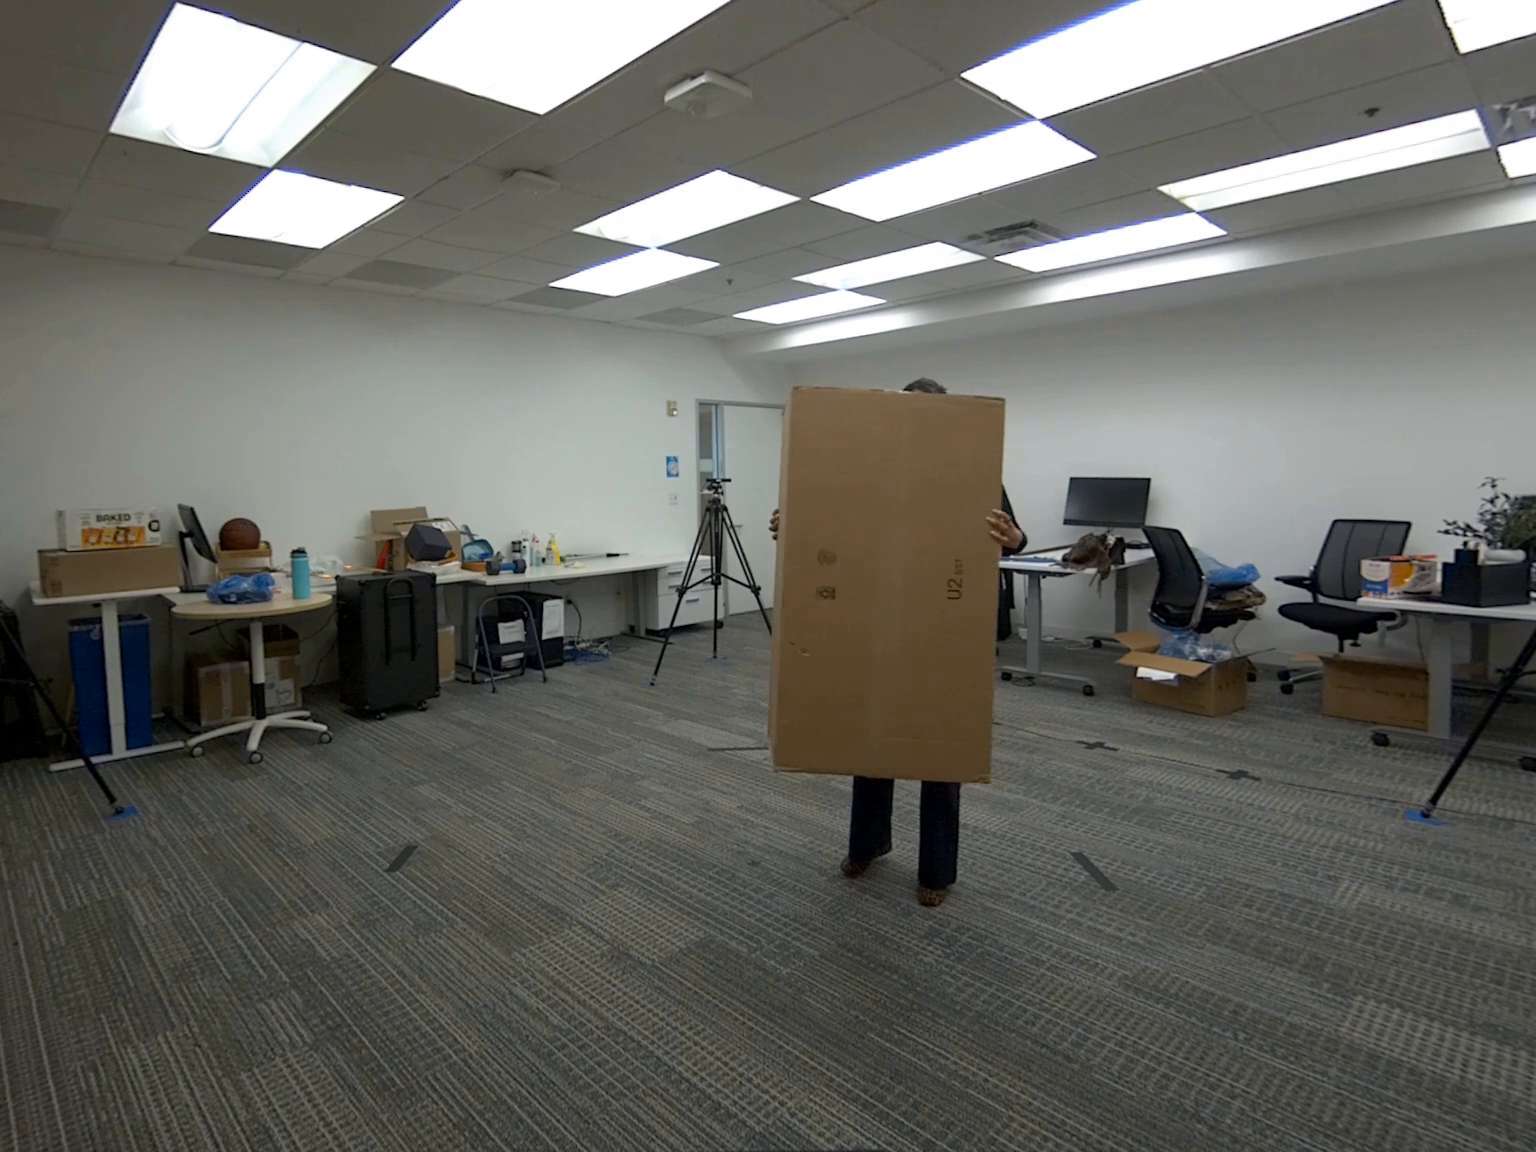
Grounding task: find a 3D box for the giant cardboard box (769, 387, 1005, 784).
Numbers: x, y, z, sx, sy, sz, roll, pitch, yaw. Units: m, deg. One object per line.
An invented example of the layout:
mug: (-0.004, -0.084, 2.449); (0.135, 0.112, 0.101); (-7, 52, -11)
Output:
giant cardboard box: (0.317, 0.015, 2.463); (0.578, 1.027, 0.425); (3, -1, 0)
